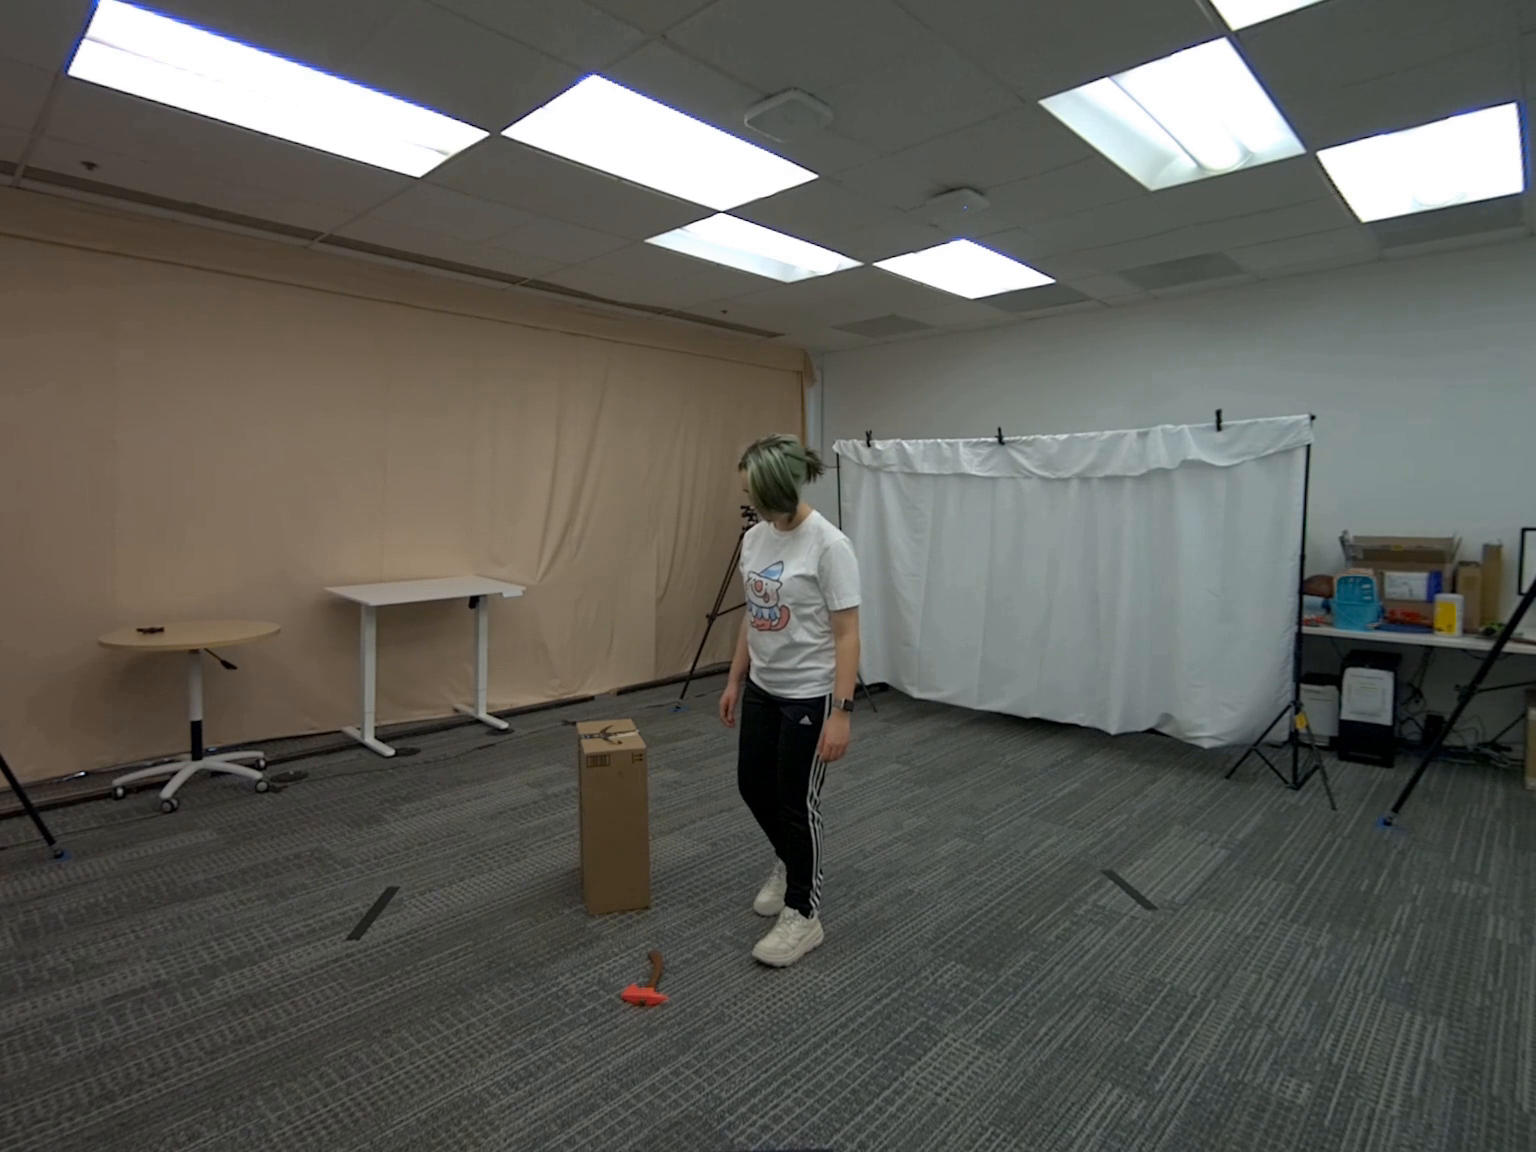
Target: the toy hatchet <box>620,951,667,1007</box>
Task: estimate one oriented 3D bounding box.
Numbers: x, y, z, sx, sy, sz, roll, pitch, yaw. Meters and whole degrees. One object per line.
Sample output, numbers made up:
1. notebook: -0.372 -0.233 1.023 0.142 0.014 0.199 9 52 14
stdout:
1. toy hatchet: -0.368 1.180 2.465 0.130 0.029 0.273 -4 3 -10
